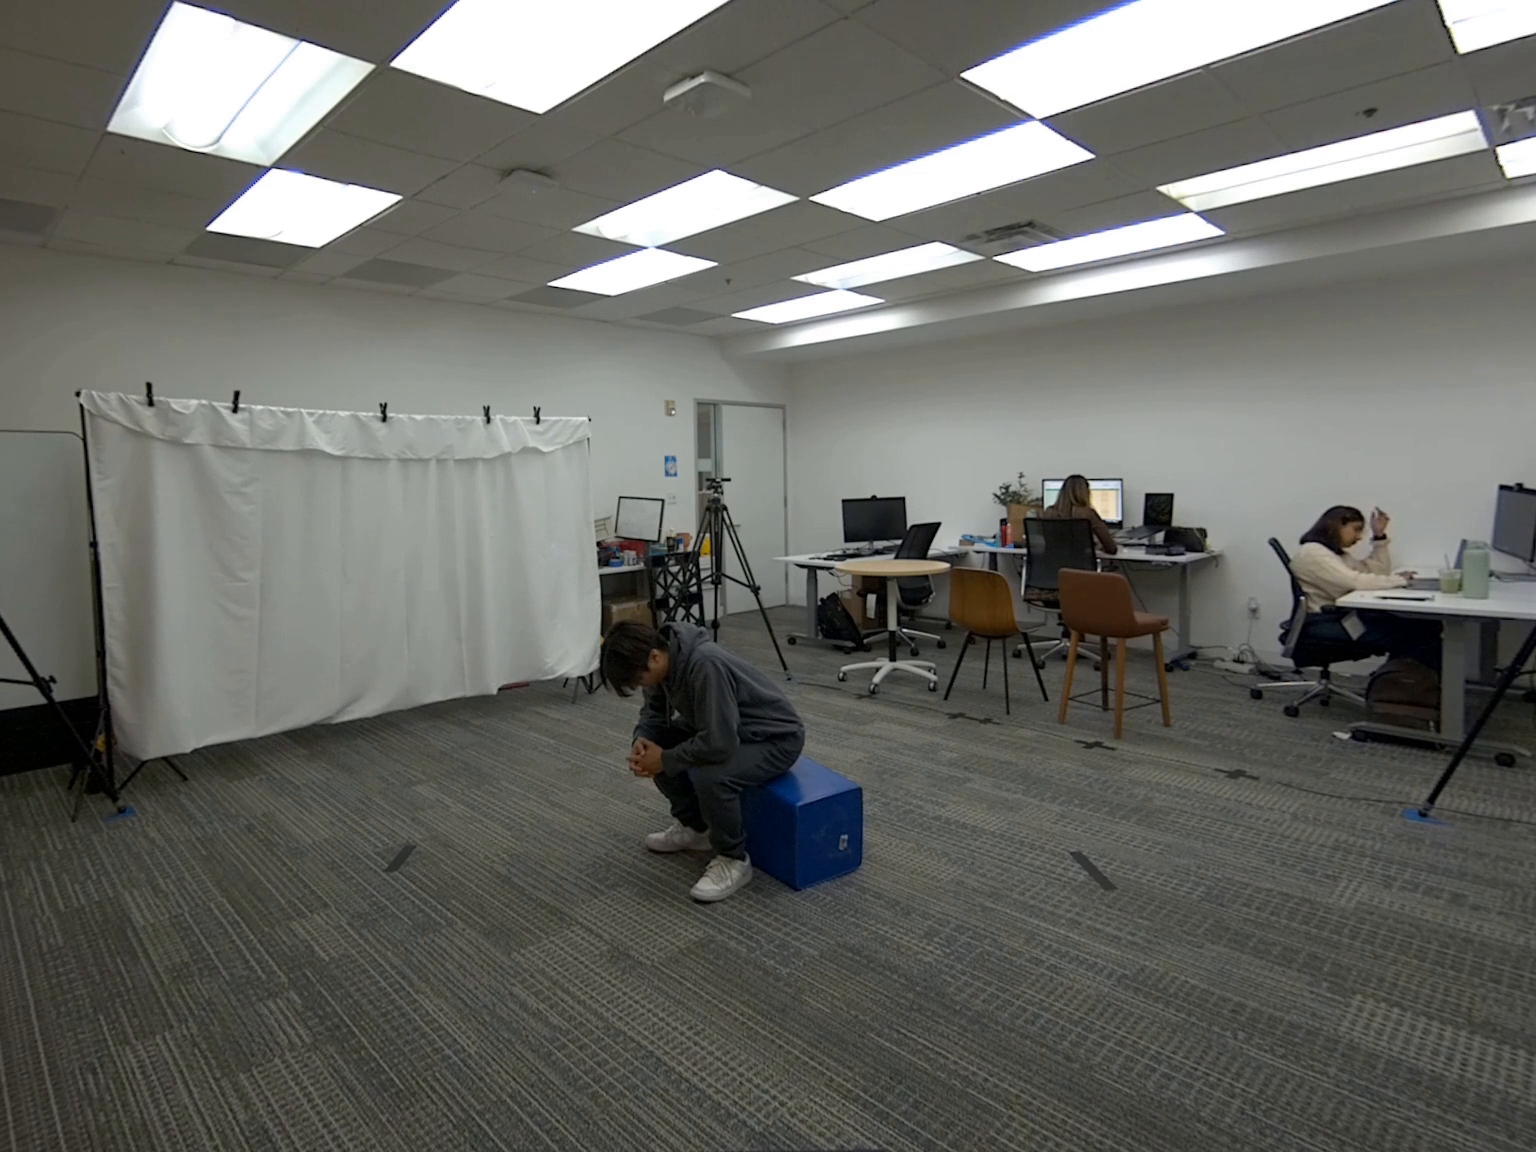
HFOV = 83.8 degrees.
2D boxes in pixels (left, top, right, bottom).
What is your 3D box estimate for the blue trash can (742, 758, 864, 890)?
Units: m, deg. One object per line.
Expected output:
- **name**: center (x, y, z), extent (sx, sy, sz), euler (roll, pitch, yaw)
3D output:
- **blue trash can**: center (0.013, 0.857, 3.247), extent (0.365, 0.375, 0.737), euler (-5, 10, -35)
